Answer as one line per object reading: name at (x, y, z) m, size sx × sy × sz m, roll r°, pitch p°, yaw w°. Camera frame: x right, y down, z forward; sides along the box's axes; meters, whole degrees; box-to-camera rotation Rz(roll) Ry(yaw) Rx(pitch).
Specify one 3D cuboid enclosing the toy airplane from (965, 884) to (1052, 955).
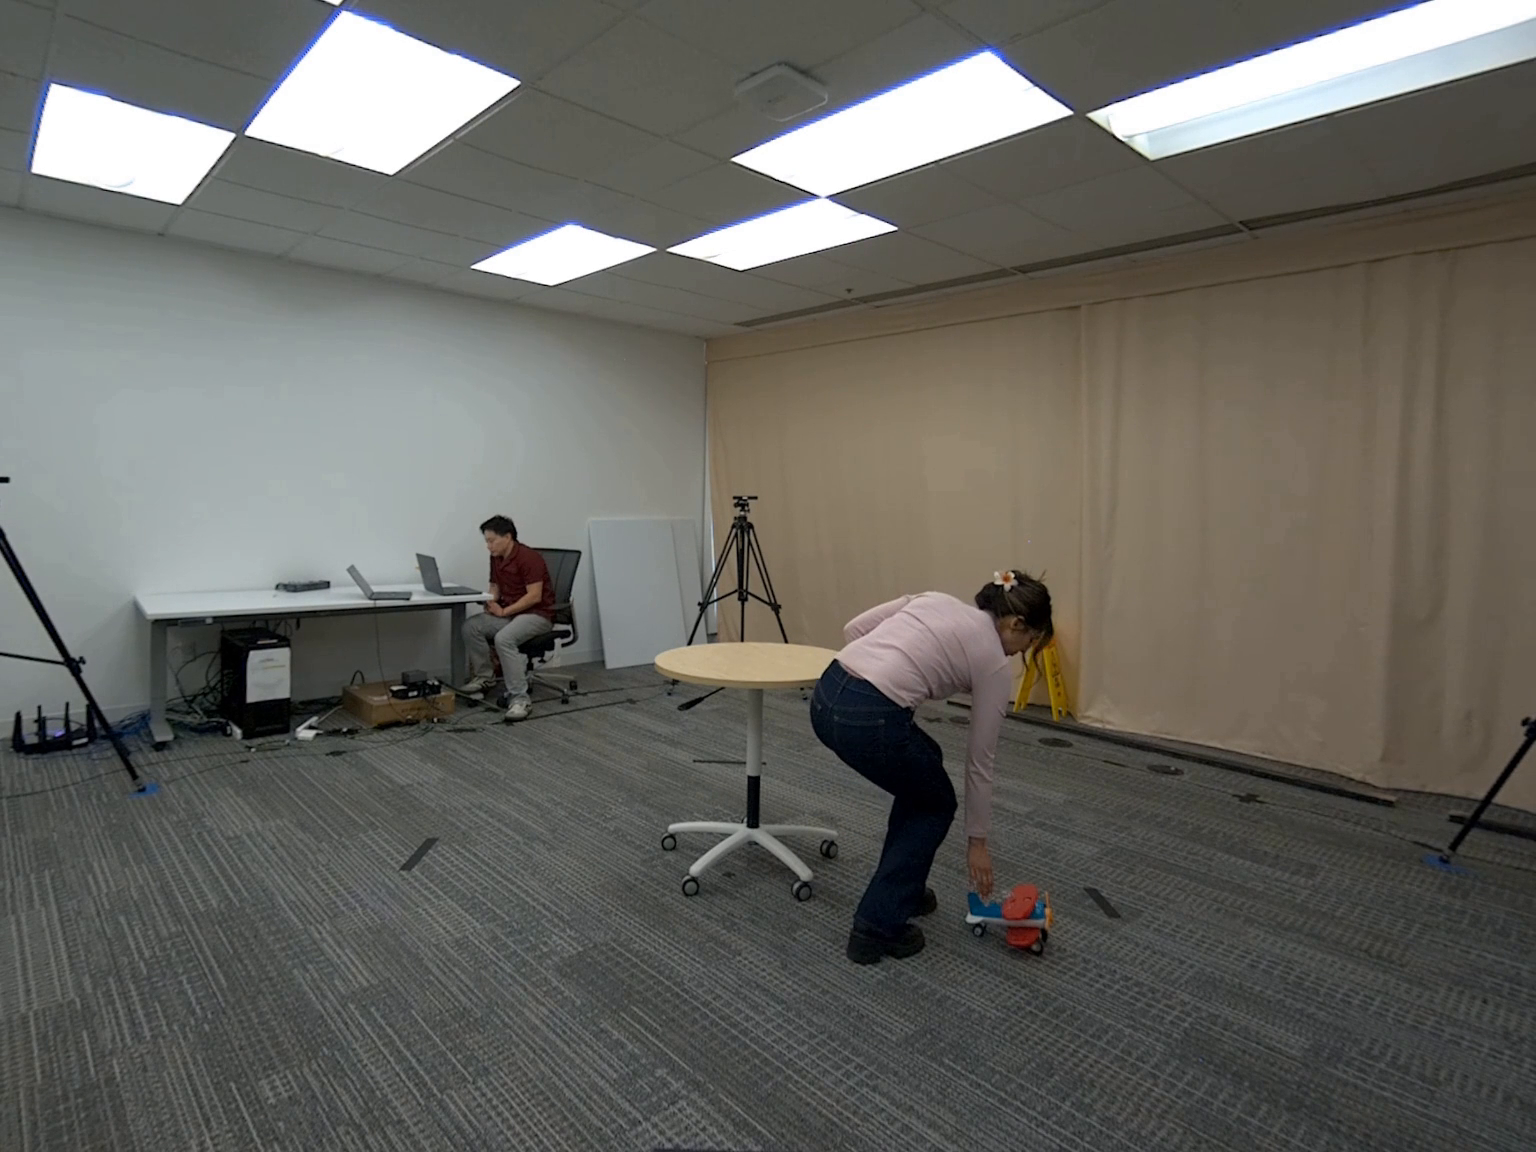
toy airplane at (0.753, 1.091, 2.664) m, size 0.259 × 0.156 × 0.252 m, roll 2°, pitch 5°, yaw -2°
